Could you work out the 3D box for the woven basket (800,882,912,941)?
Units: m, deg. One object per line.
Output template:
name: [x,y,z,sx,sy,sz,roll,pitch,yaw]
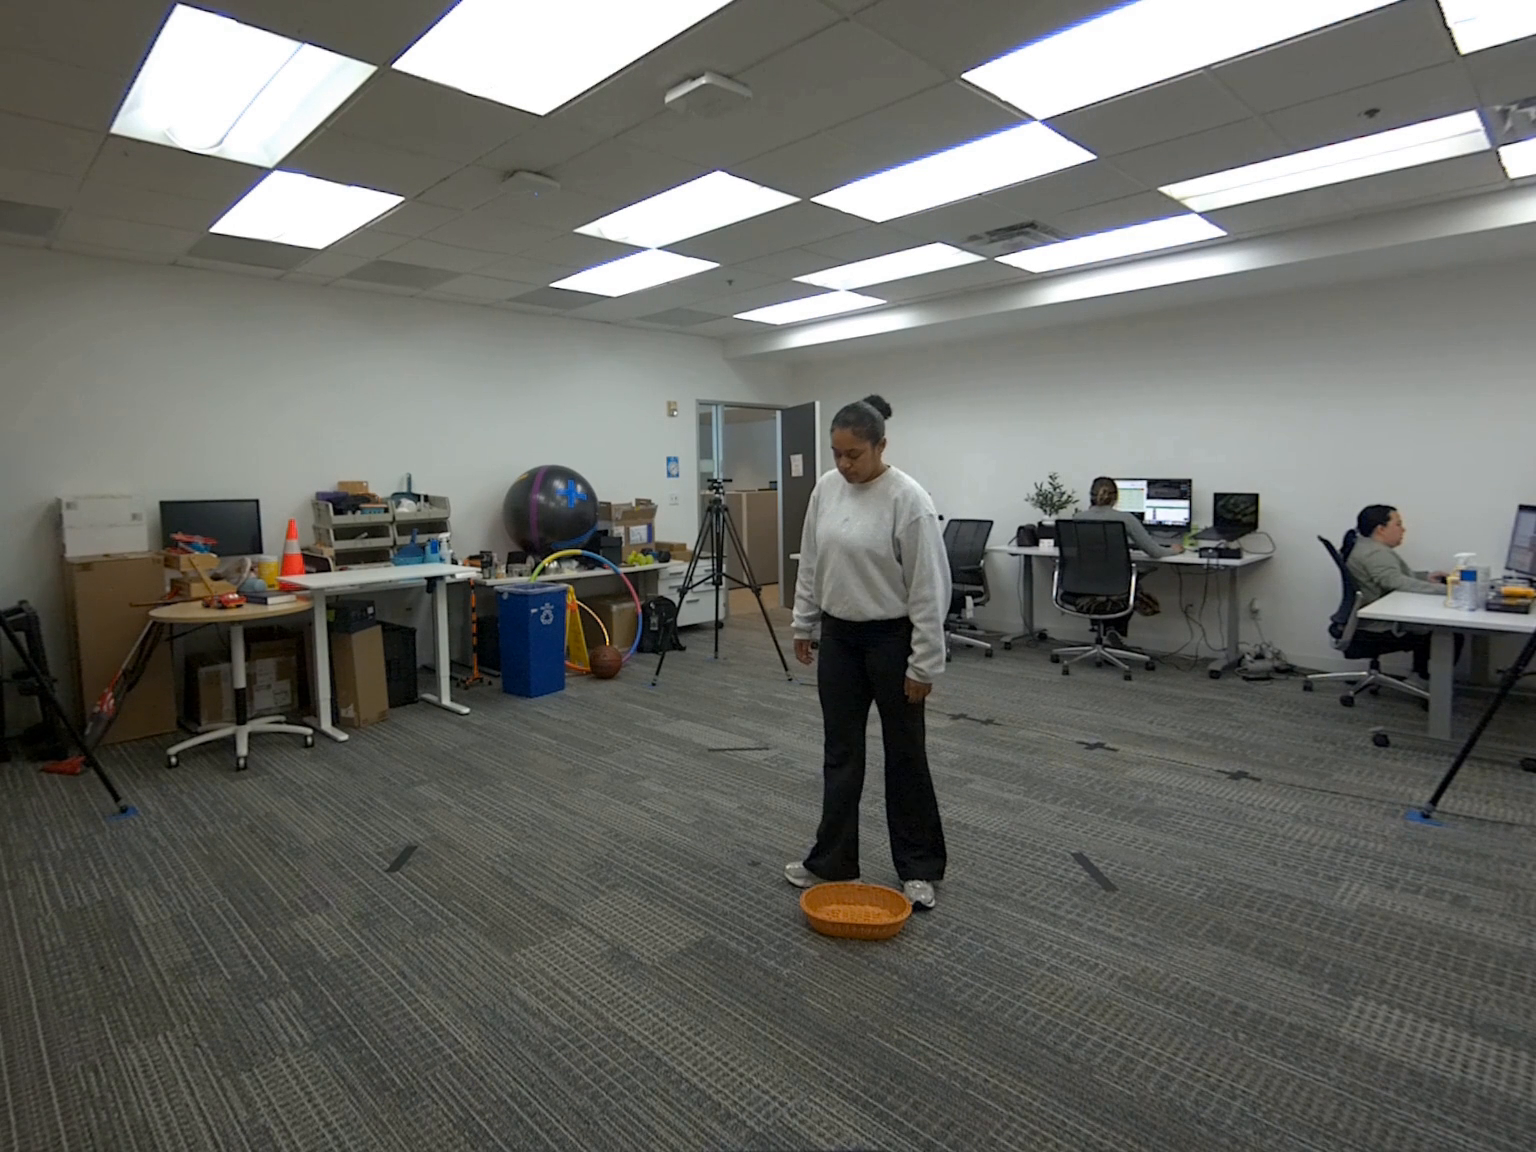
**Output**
woven basket: [0.272,1.047,2.679,0.355,0.073,0.250,0,7,13]
